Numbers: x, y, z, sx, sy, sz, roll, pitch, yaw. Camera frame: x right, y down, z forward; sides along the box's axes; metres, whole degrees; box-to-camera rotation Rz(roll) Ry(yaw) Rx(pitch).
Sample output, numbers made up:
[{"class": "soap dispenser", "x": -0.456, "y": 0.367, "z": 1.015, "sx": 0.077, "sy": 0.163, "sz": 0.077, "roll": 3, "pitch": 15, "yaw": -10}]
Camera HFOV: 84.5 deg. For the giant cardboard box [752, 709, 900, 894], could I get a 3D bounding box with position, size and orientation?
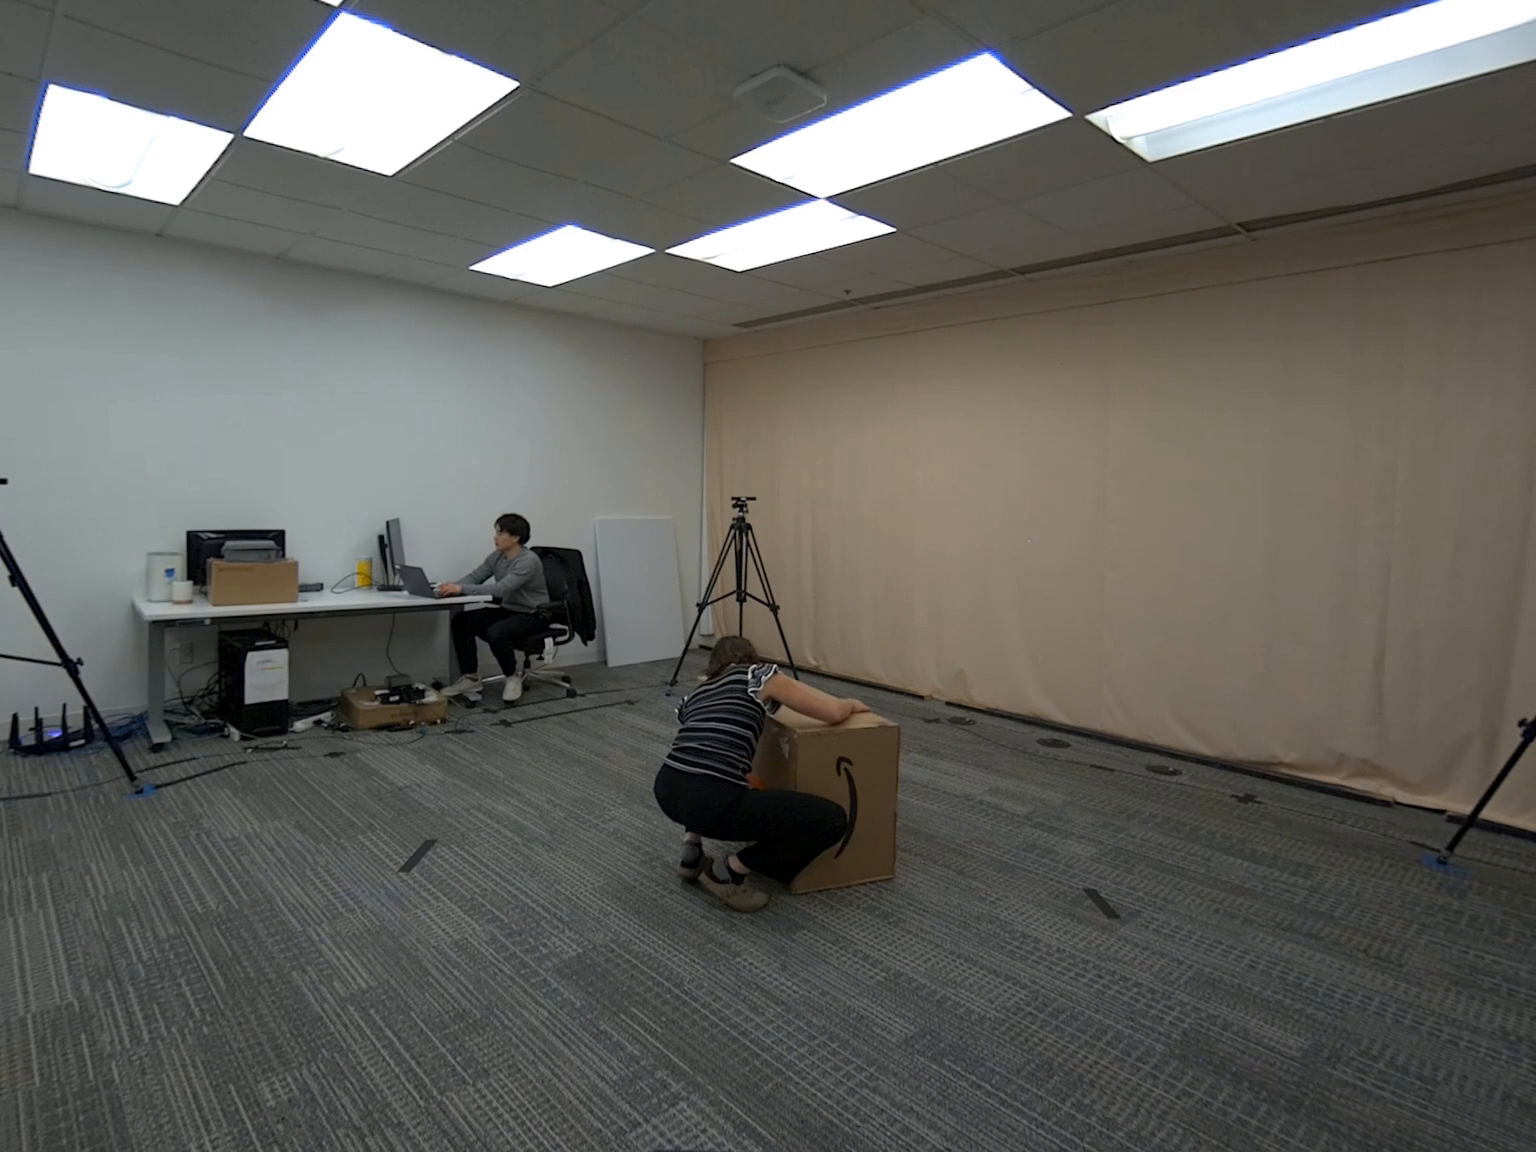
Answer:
[{"class": "giant cardboard box", "x": 0.068, "y": 0.788, "z": 3.494, "sx": 0.419, "sy": 0.576, "sz": 1.046, "roll": 1, "pitch": 4, "yaw": -24}]
